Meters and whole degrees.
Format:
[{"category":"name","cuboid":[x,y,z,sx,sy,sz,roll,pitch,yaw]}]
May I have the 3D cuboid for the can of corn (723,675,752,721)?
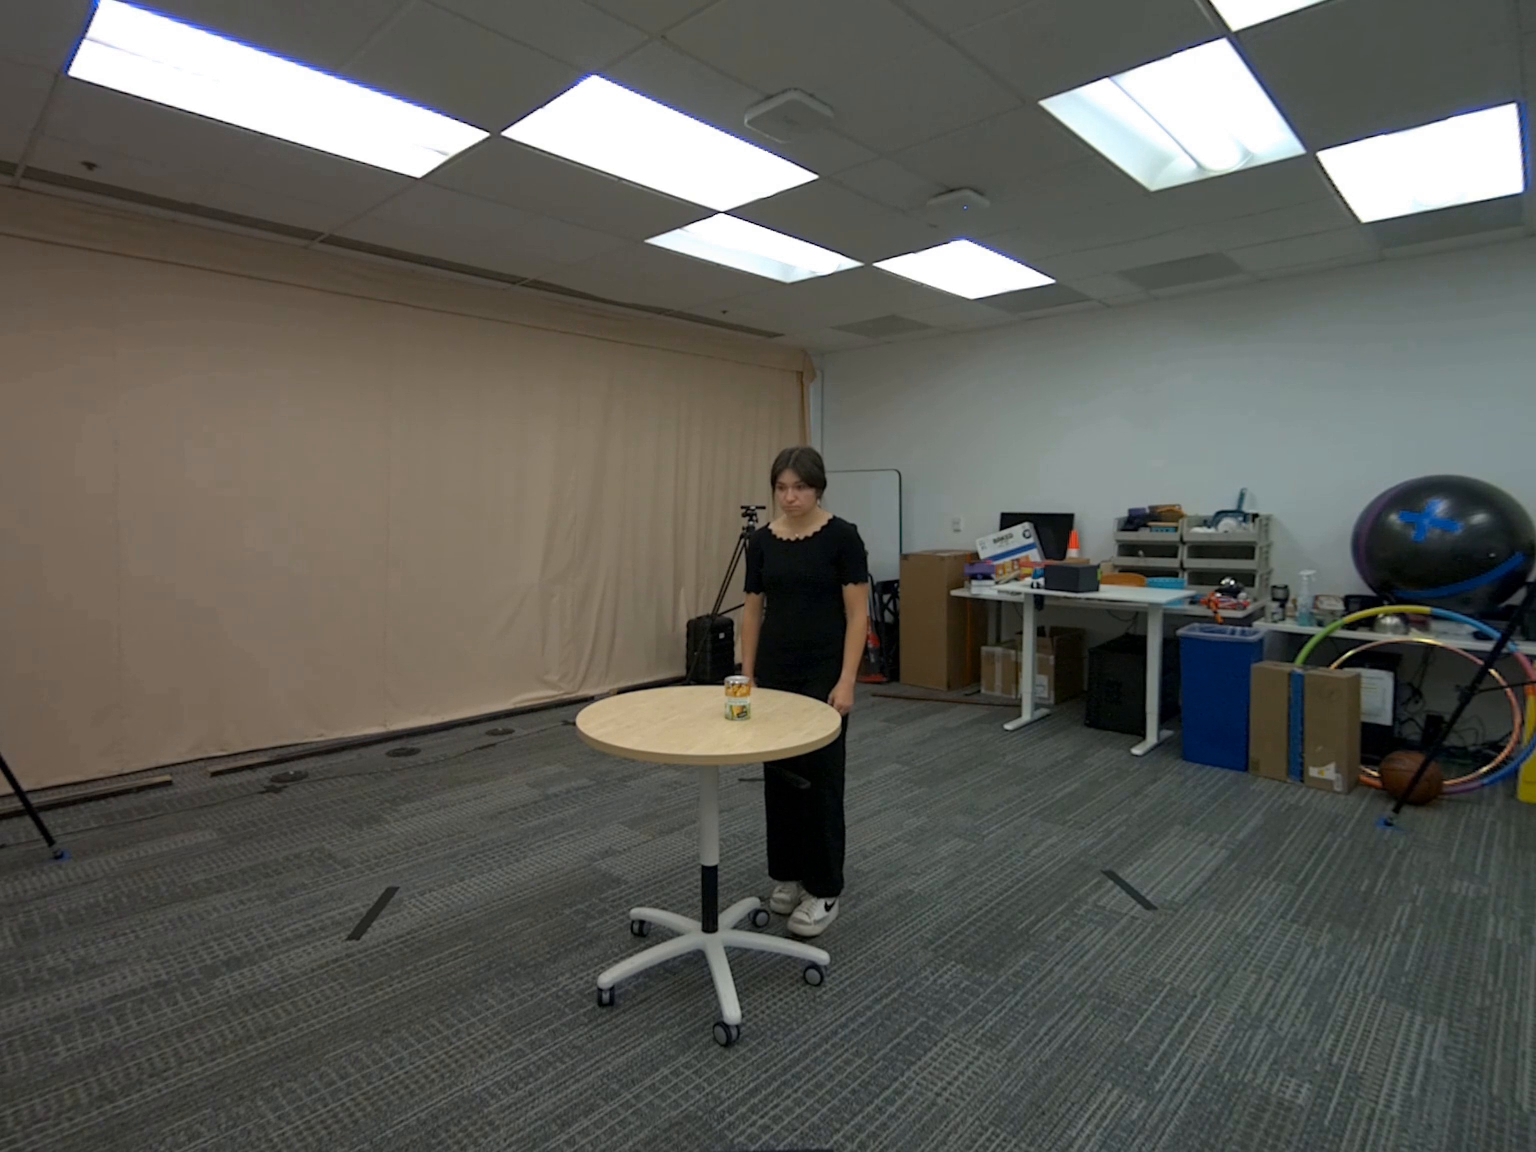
[{"category":"can of corn","cuboid":[-0.084,0.350,2.419,0.074,0.111,0.074,-2,4,-2]}]
